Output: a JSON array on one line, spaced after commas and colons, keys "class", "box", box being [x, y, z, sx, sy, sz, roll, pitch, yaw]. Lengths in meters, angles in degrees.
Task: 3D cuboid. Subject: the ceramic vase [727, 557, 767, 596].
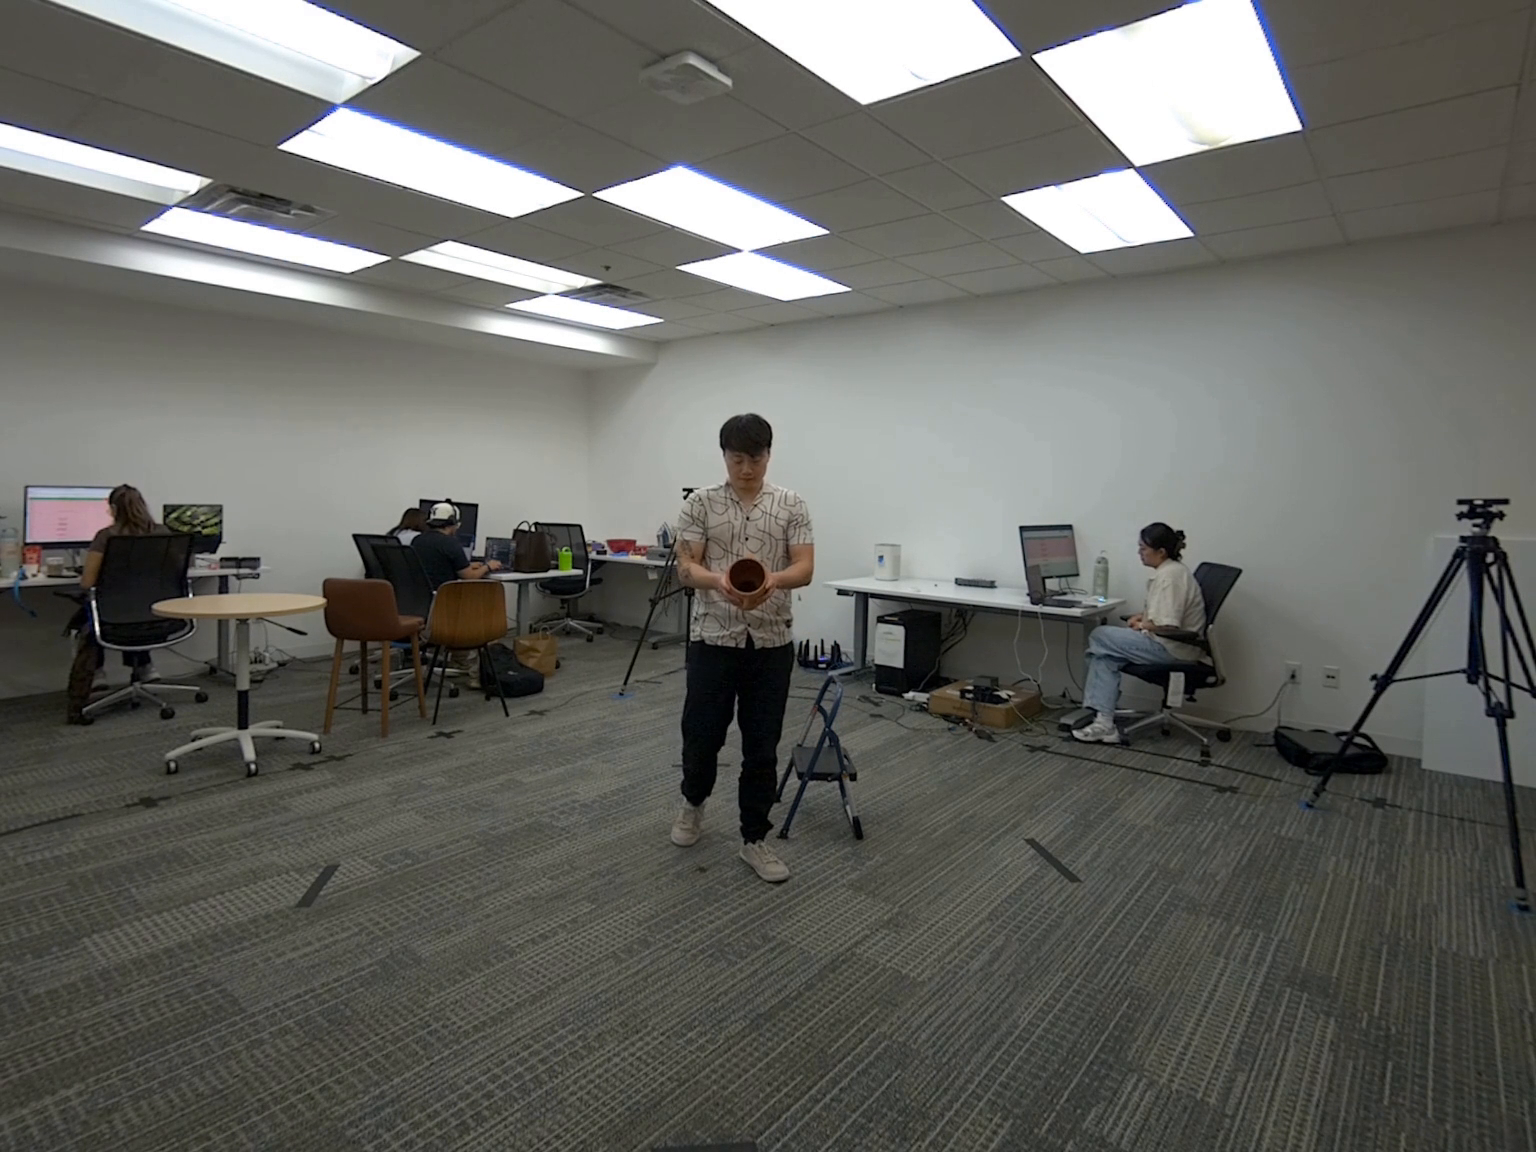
[{"class": "ceramic vase", "box": [-0.083, 0.037, 2.875, 0.138, 0.158, 0.215, 43, -16, 14]}]
